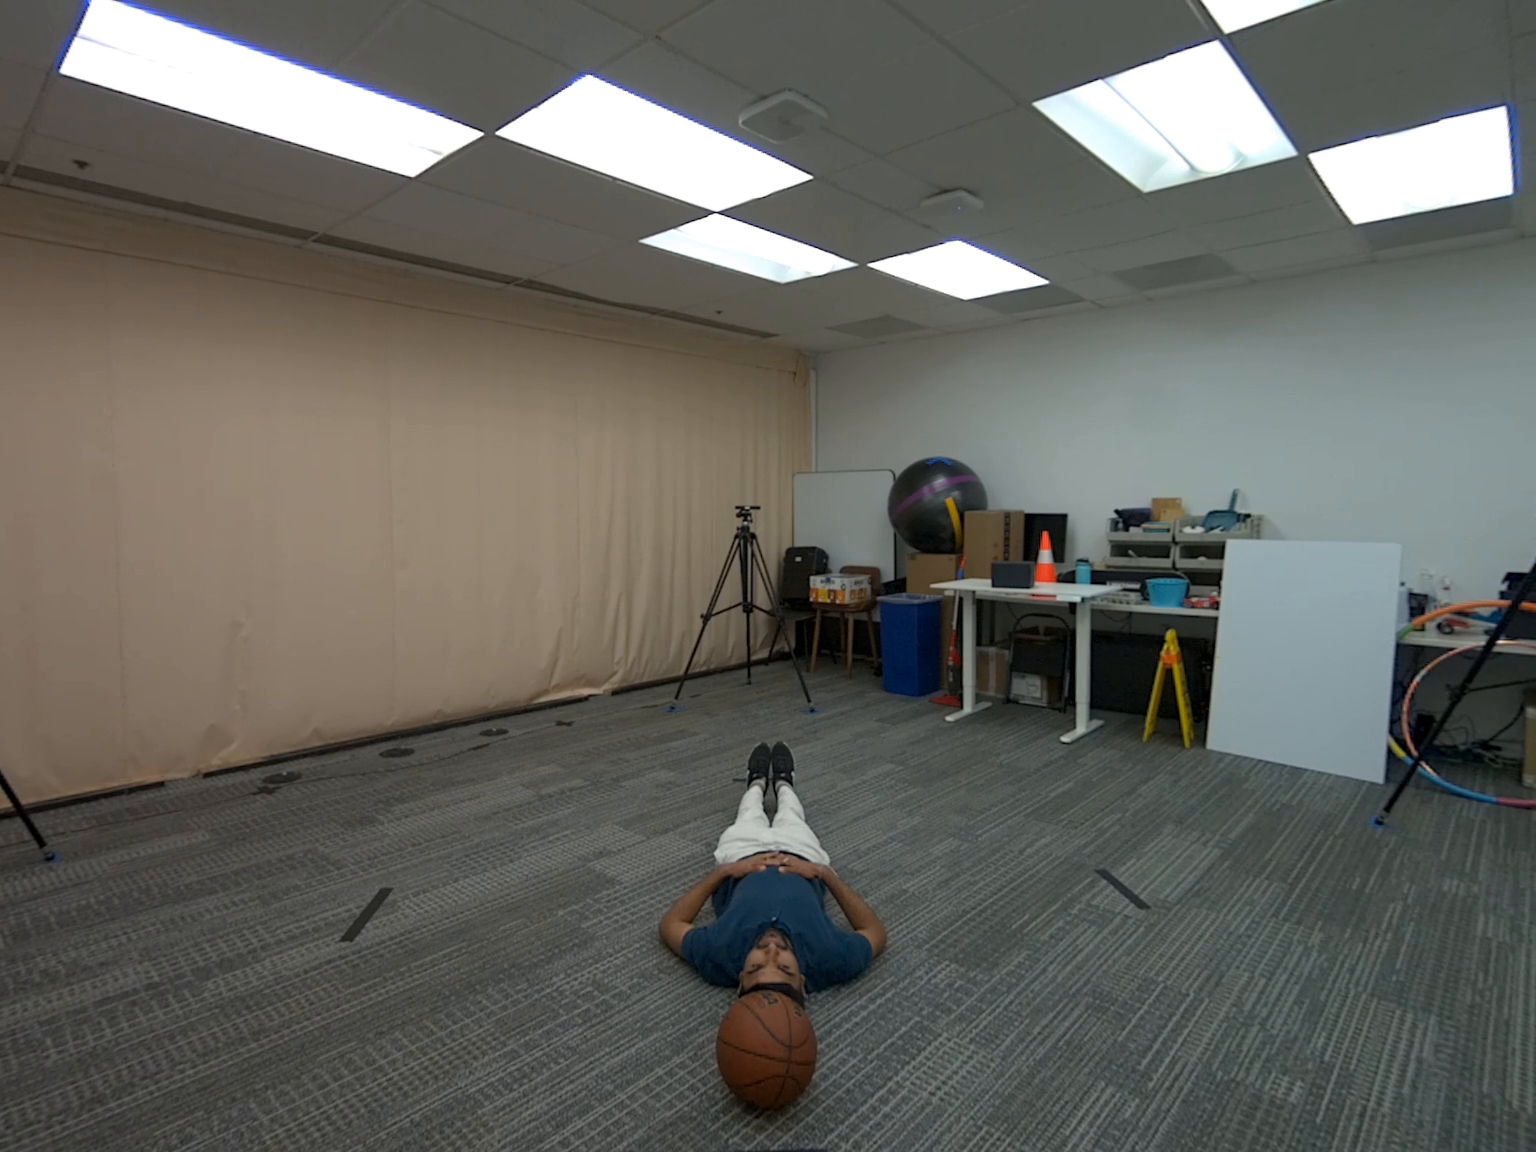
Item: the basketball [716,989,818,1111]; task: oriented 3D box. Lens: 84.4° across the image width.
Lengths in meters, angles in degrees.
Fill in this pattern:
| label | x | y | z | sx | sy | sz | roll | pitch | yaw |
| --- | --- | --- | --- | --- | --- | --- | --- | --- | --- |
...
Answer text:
| label | x | y | z | sx | sy | sz | roll | pitch | yaw |
| --- | --- | --- | --- | --- | --- | --- | --- | --- | --- |
| basketball | 0.000 | 1.110 | 1.972 | 0.236 | 0.235 | 0.237 | 0 | 4 | -2 |
